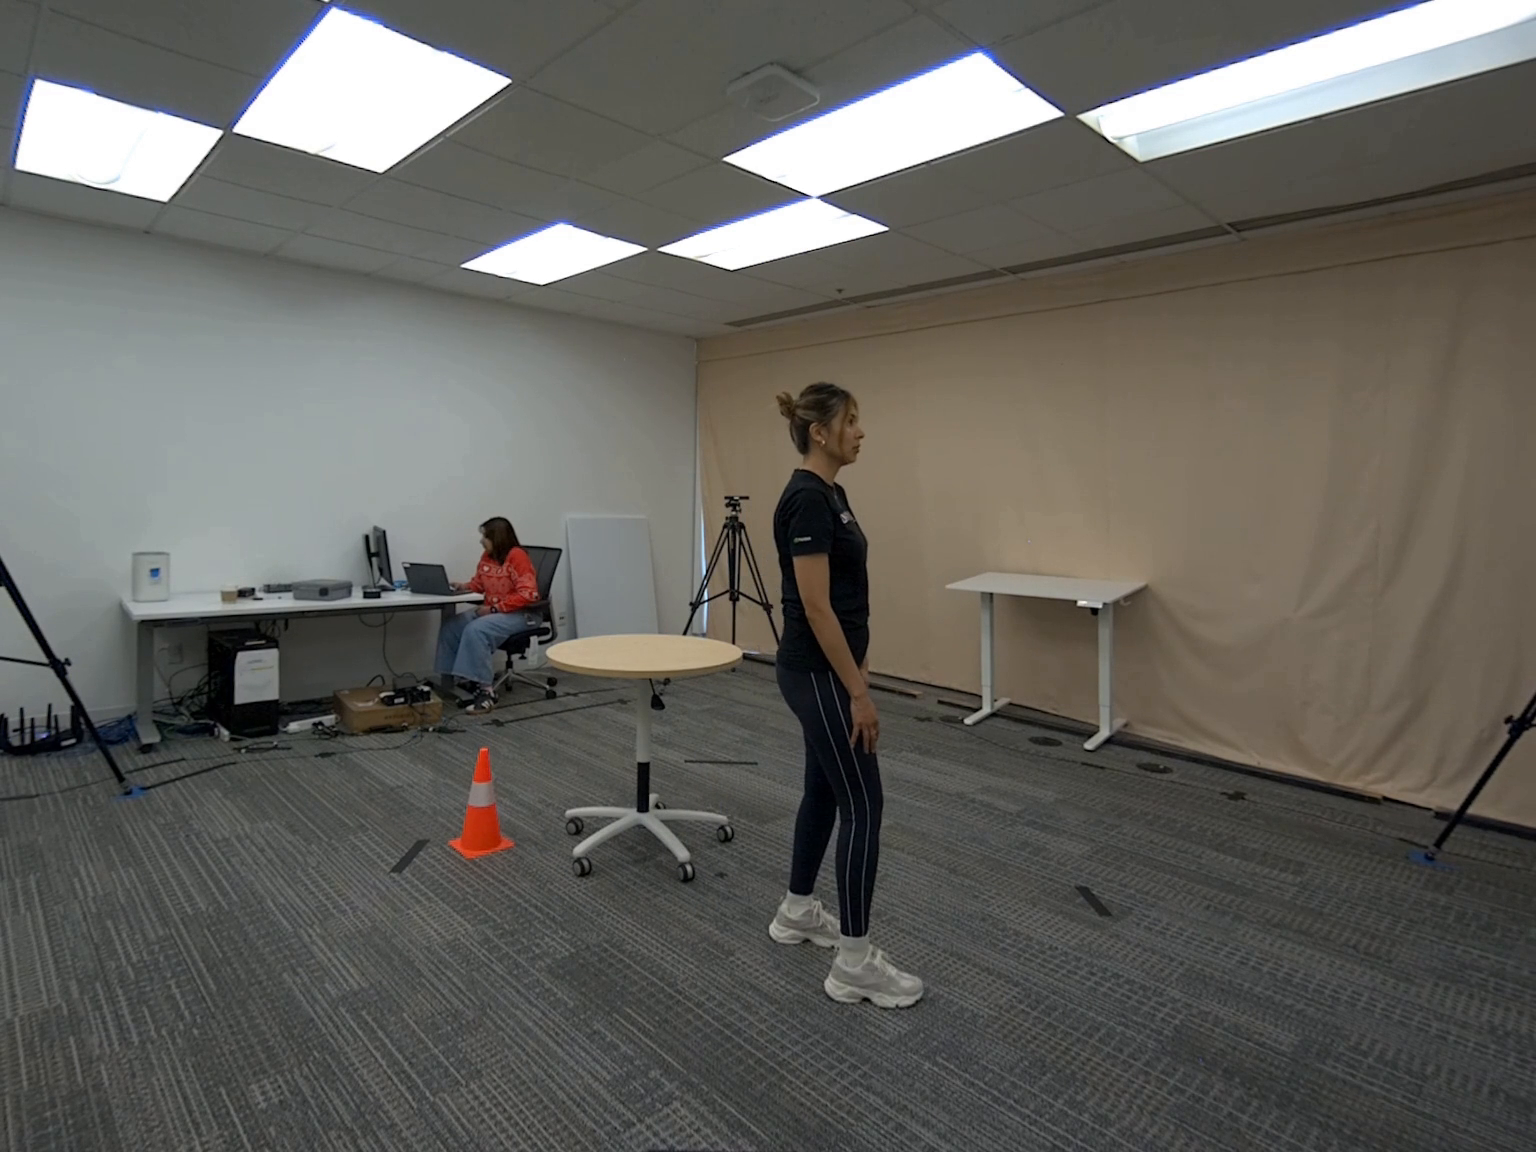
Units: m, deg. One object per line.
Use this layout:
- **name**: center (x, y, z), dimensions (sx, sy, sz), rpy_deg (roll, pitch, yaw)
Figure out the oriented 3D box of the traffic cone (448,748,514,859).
- **traffic cone**: center (-1.146, 0.879, 3.319), dimensions (0.201, 0.383, 0.208), rpy_deg (-1, 3, -32)
